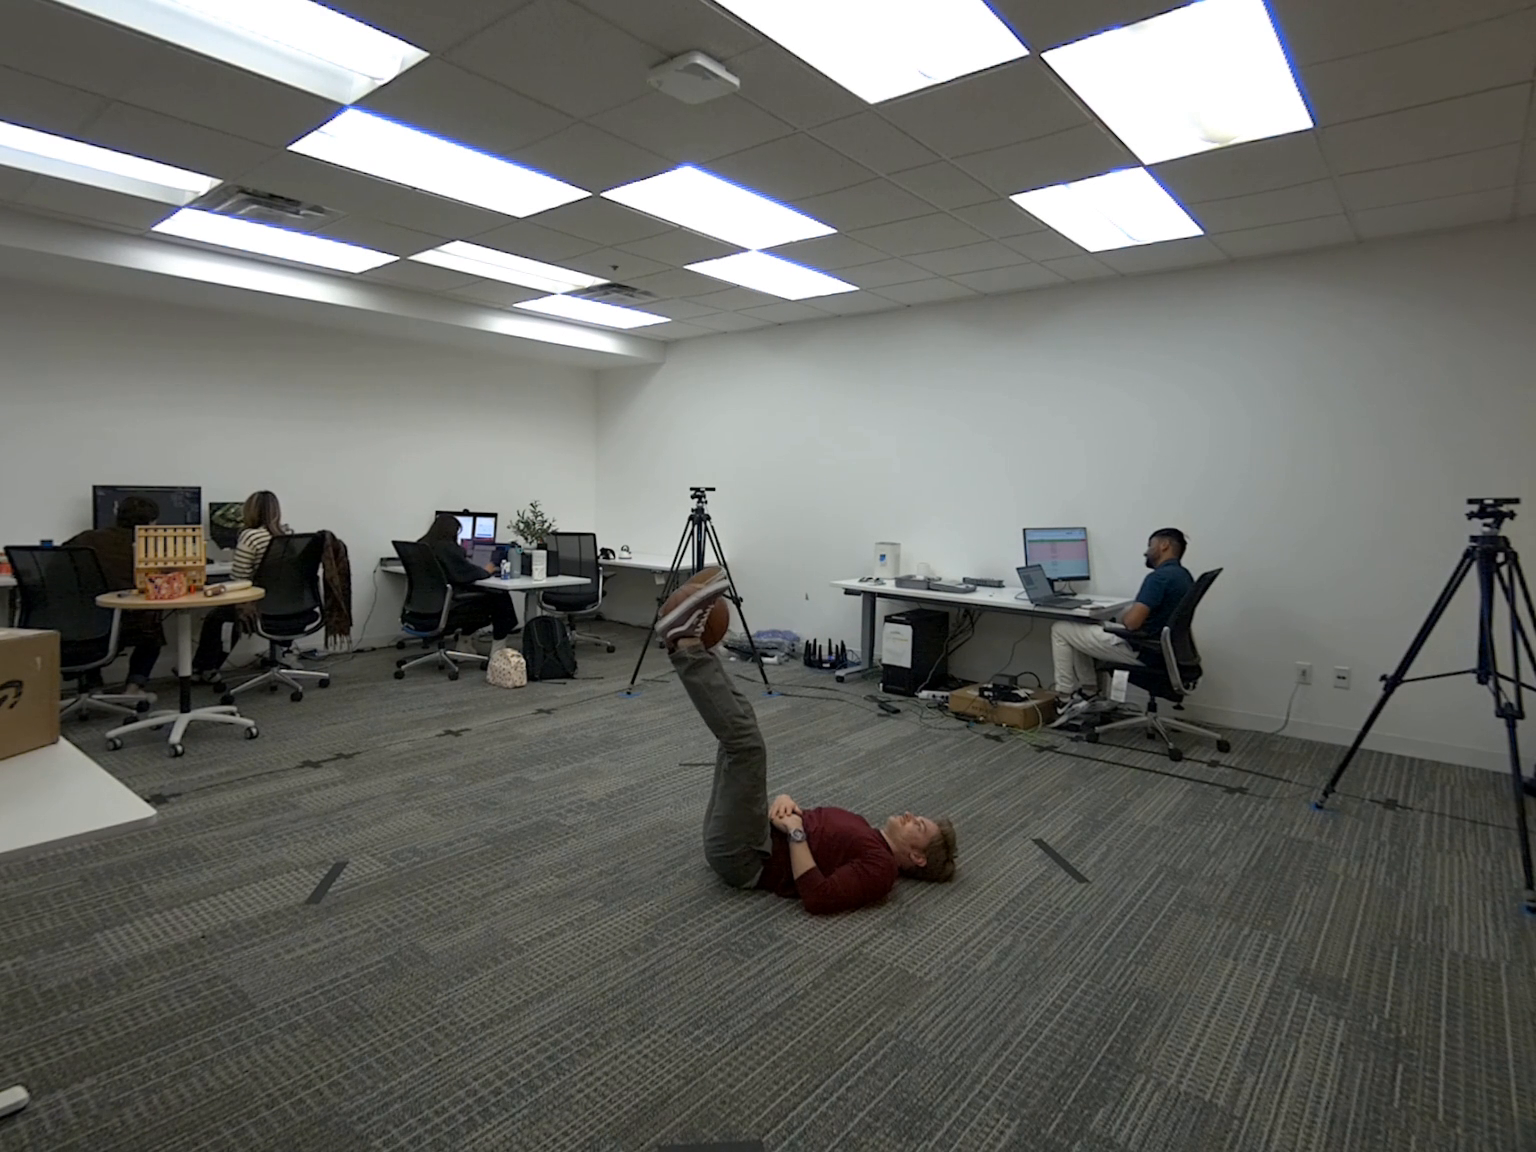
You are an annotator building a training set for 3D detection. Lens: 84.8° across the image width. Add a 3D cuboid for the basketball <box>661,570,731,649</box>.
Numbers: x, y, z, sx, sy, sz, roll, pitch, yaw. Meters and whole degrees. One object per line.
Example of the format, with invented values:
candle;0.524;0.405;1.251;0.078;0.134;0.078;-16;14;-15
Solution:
basketball;-0.262;0.142;3.009;0.236;0.235;0.237;-3;3;-2
